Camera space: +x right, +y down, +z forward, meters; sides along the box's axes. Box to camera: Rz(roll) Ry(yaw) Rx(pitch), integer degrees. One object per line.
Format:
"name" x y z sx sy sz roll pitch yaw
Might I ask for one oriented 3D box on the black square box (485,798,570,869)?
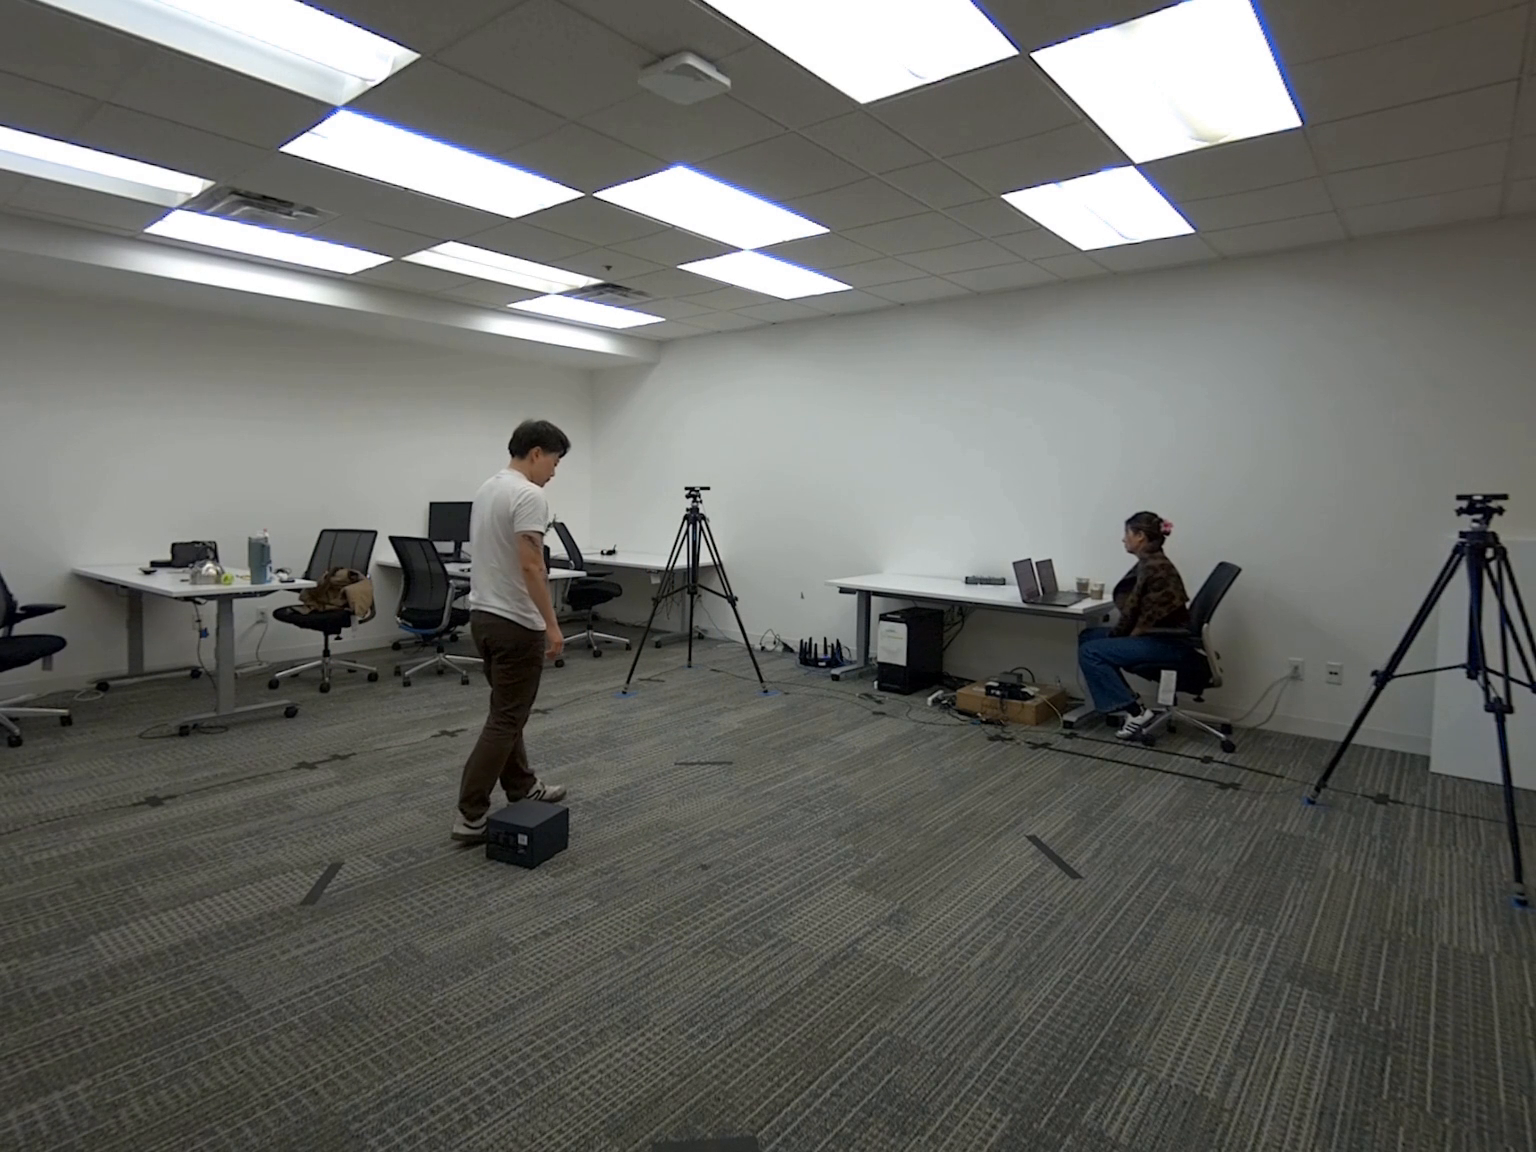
"black square box" -0.919 0.964 3.209 0.222 0.155 0.223 2 5 23
